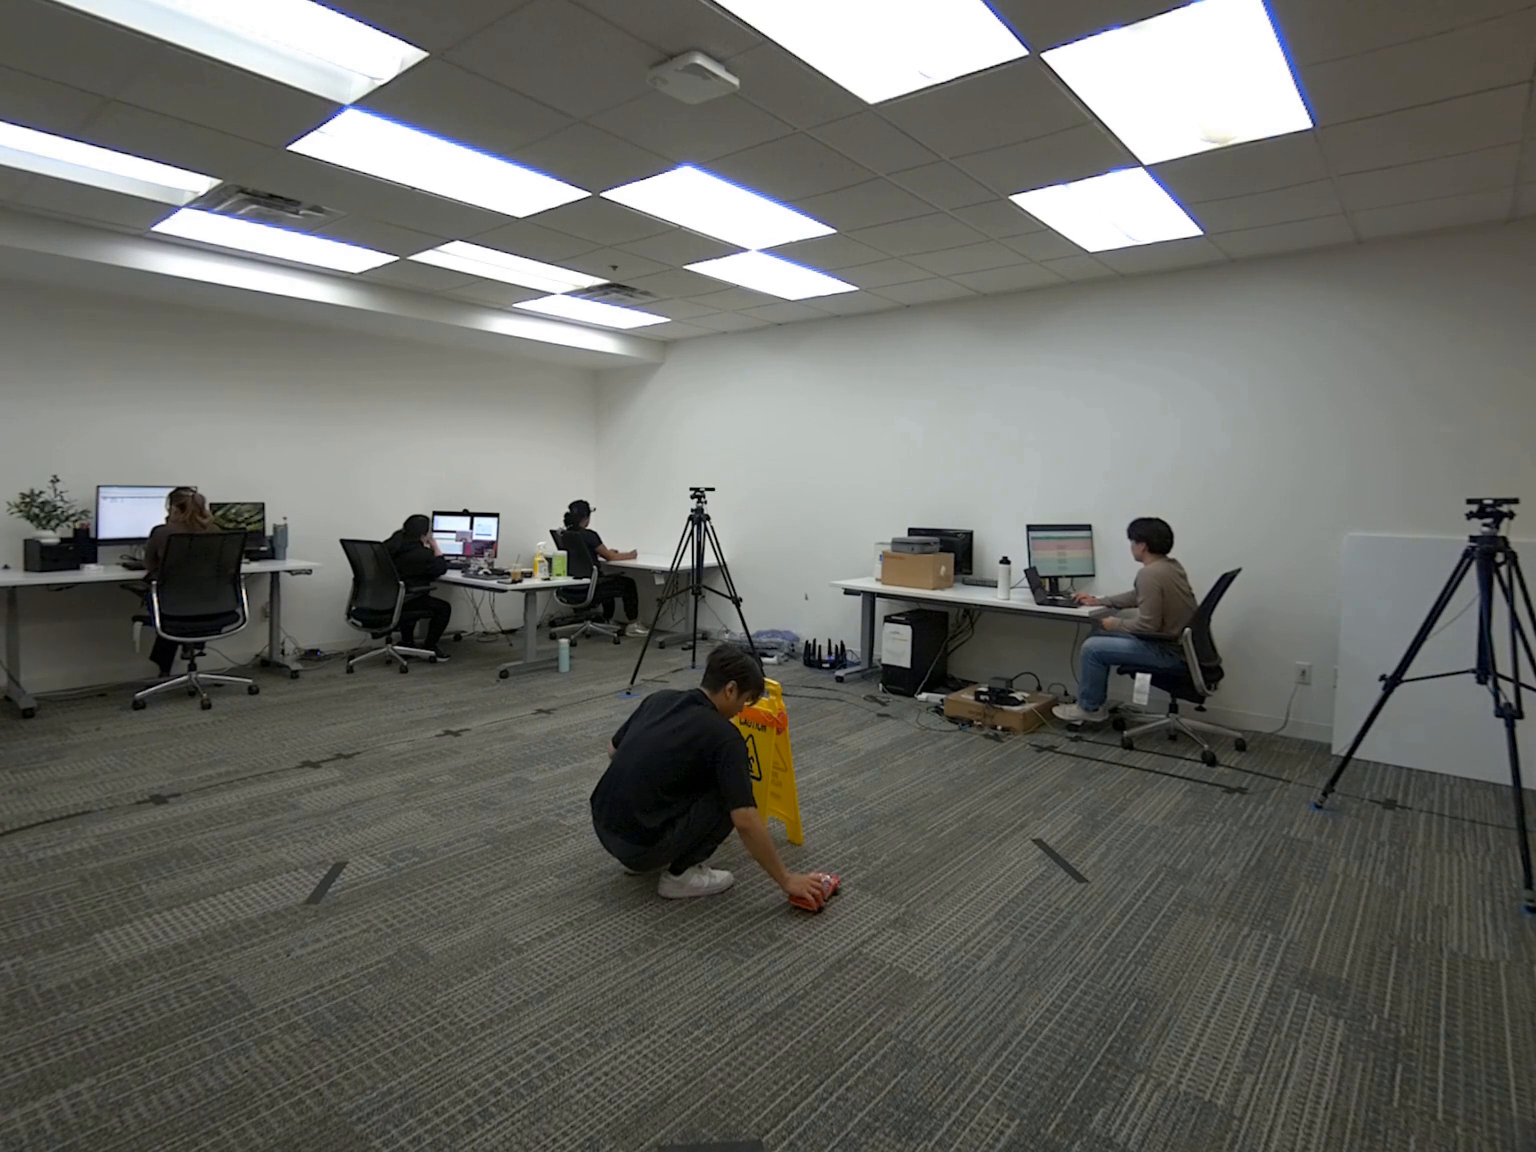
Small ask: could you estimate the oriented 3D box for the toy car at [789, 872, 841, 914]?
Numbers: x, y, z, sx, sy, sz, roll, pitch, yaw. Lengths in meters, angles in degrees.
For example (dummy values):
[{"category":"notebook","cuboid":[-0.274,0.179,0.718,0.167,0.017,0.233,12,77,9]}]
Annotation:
[{"category":"toy car","cuboid":[0.149,1.073,2.876,0.134,0.083,0.247,8,-1,27]}]
